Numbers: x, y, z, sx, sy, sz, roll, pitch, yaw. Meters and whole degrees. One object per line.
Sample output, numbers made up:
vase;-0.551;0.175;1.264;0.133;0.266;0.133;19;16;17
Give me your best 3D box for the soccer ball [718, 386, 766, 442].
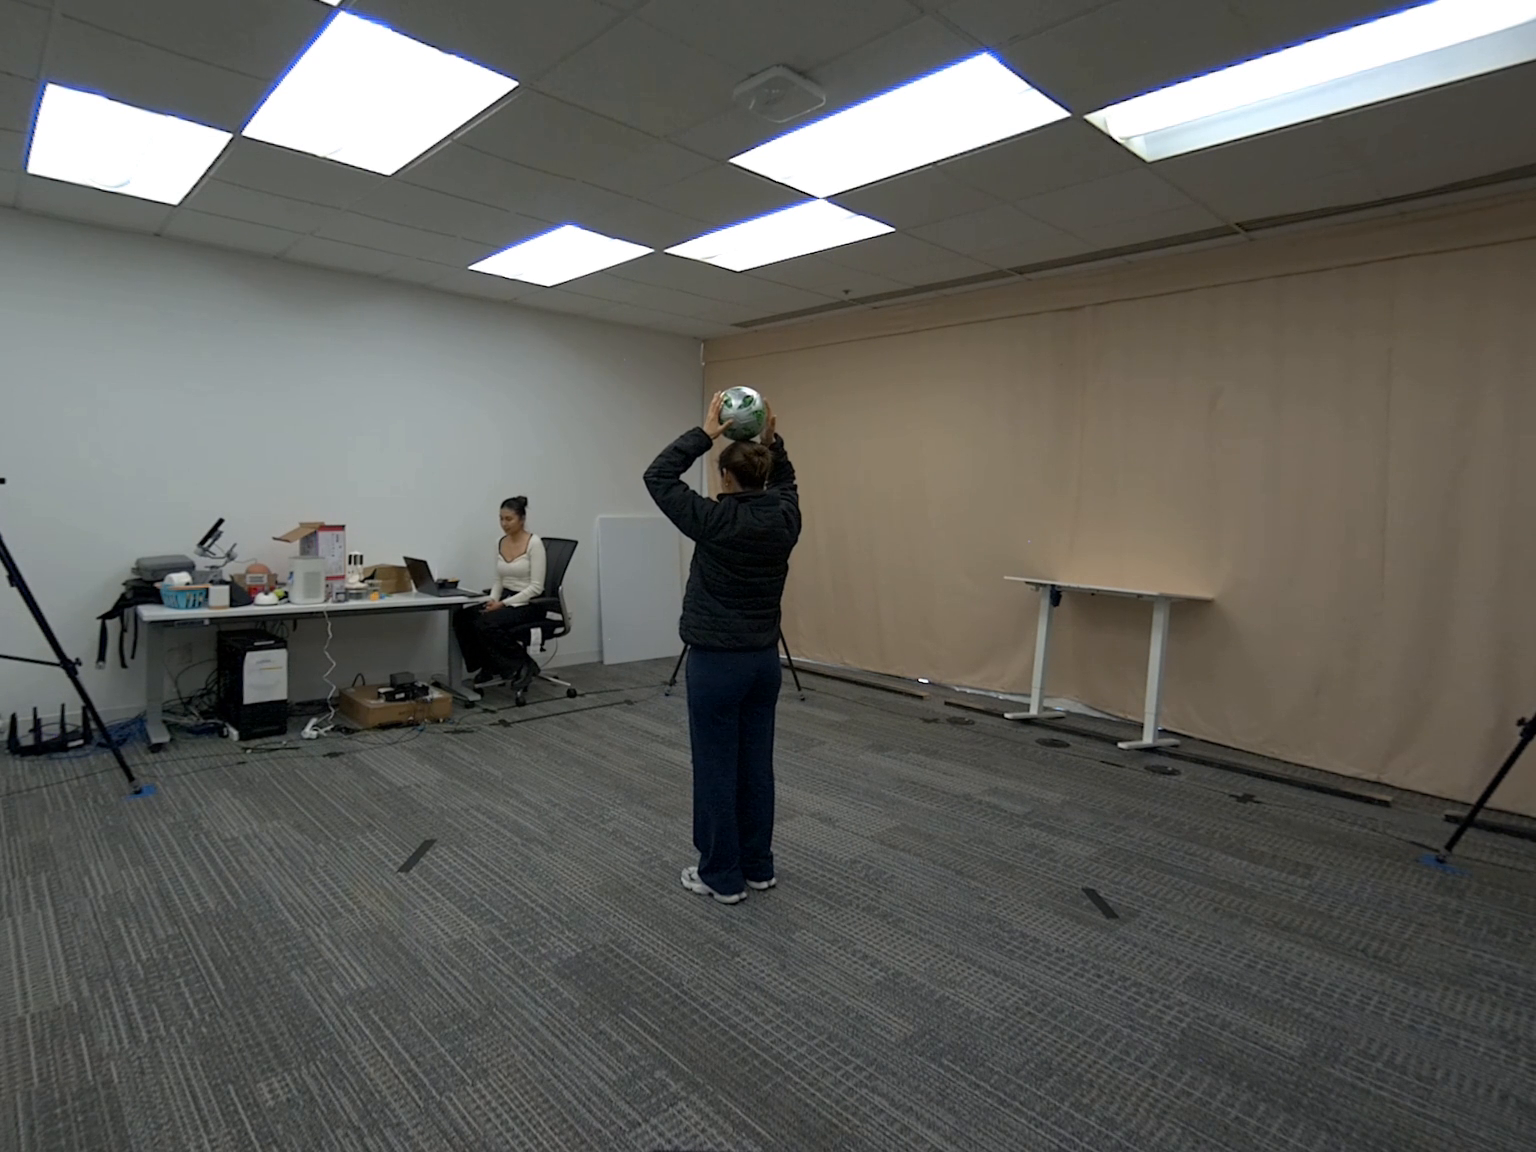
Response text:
soccer ball;-0.096;-0.560;2.922;0.187;0.187;0.188;1;4;-1
